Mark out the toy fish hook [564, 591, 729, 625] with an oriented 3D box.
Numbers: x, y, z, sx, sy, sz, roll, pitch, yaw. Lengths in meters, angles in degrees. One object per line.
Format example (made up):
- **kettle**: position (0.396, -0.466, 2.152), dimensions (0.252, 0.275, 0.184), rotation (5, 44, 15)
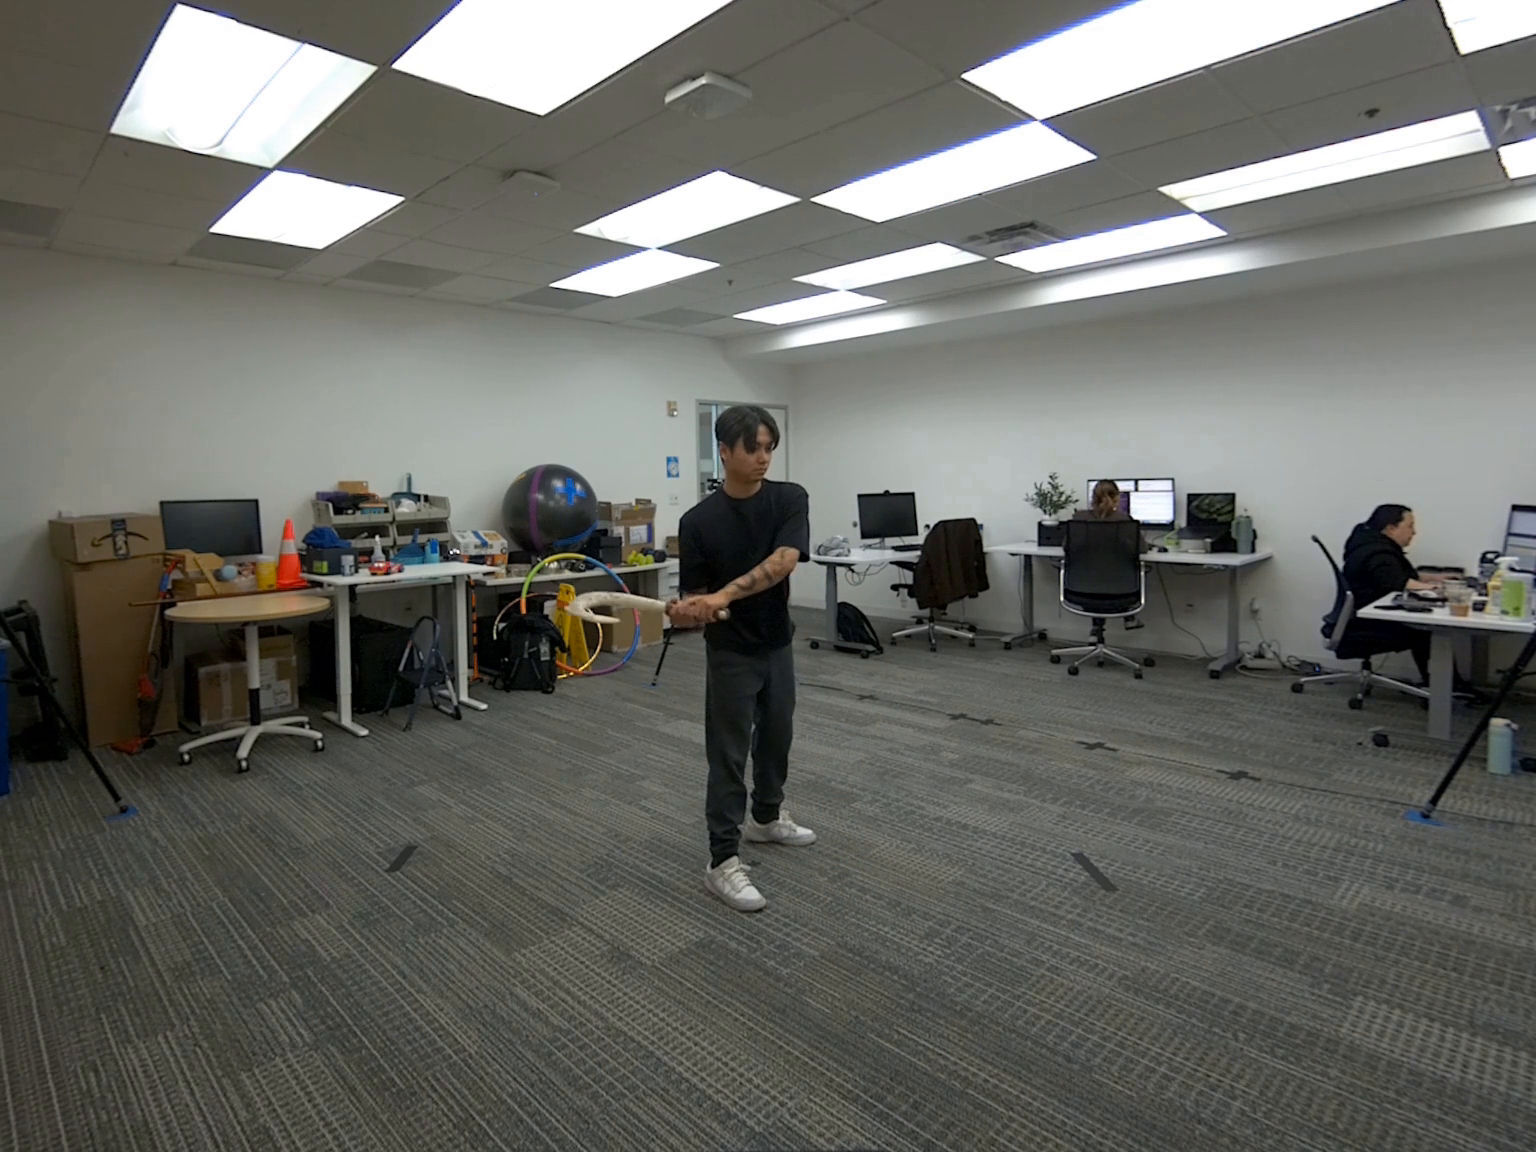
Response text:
- **toy fish hook**: position (-0.340, 0.121, 2.610), dimensions (0.514, 0.047, 0.225), rotation (3, 20, 13)
